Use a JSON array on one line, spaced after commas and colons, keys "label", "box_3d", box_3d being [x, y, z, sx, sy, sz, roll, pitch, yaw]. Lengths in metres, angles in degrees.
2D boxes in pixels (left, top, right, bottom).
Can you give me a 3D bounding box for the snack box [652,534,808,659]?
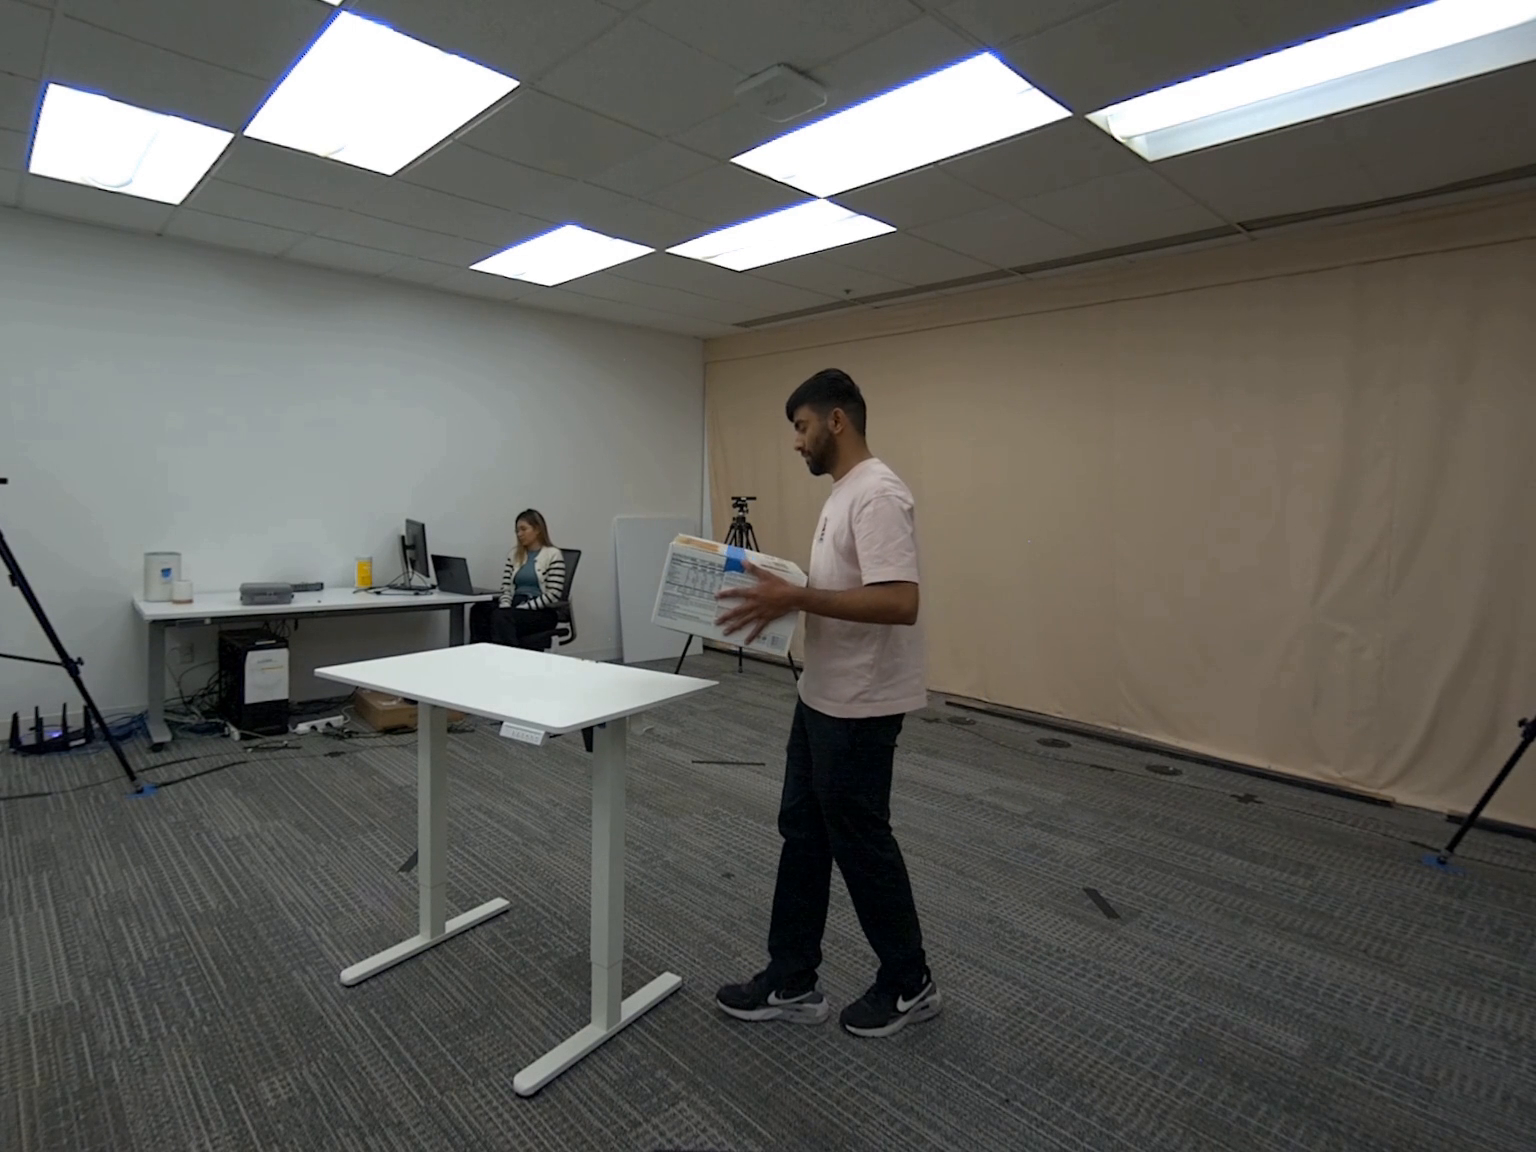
[{"label": "snack box", "box_3d": [-0.104, 0.038, 2.207, 0.340, 0.205, 0.407, 14, 5, -3]}]
